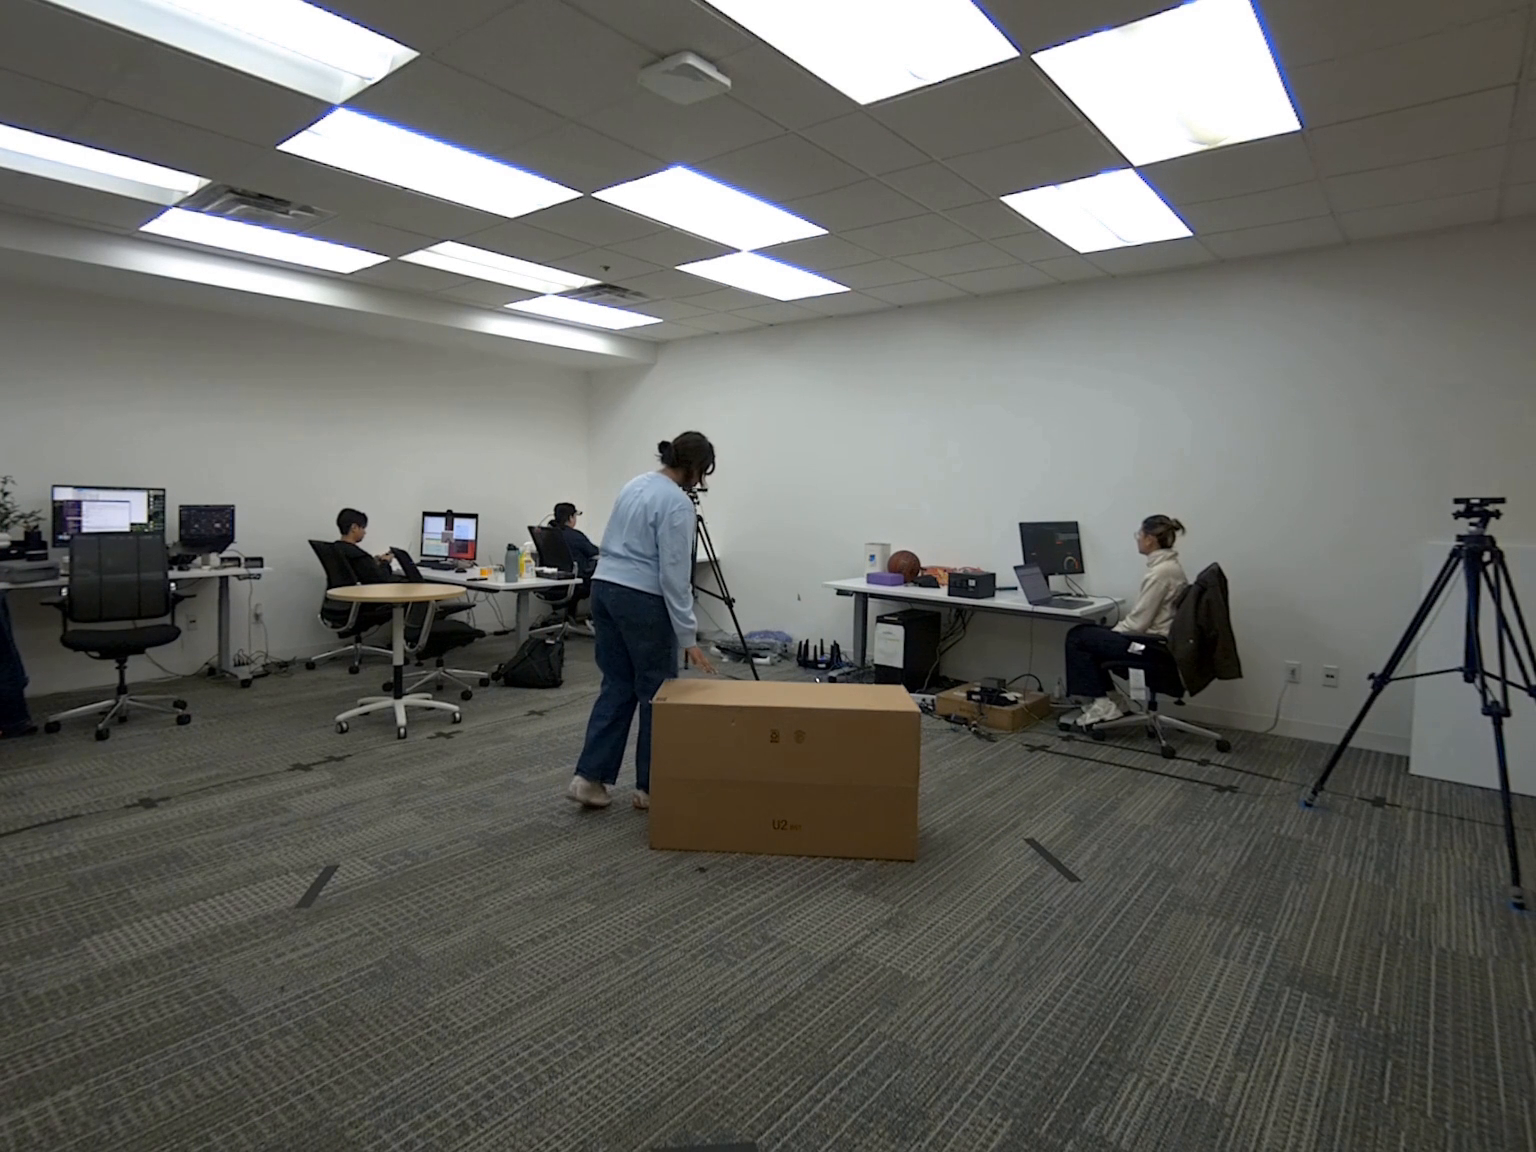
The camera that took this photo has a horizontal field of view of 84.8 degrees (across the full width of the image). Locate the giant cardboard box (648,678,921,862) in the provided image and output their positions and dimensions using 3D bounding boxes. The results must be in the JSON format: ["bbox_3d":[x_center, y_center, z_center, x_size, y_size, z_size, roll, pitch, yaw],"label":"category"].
[{"bbox_3d":[0.055,0.750,3.432,1.030,0.576,0.426,1,3,3],"label":"giant cardboard box"}]
